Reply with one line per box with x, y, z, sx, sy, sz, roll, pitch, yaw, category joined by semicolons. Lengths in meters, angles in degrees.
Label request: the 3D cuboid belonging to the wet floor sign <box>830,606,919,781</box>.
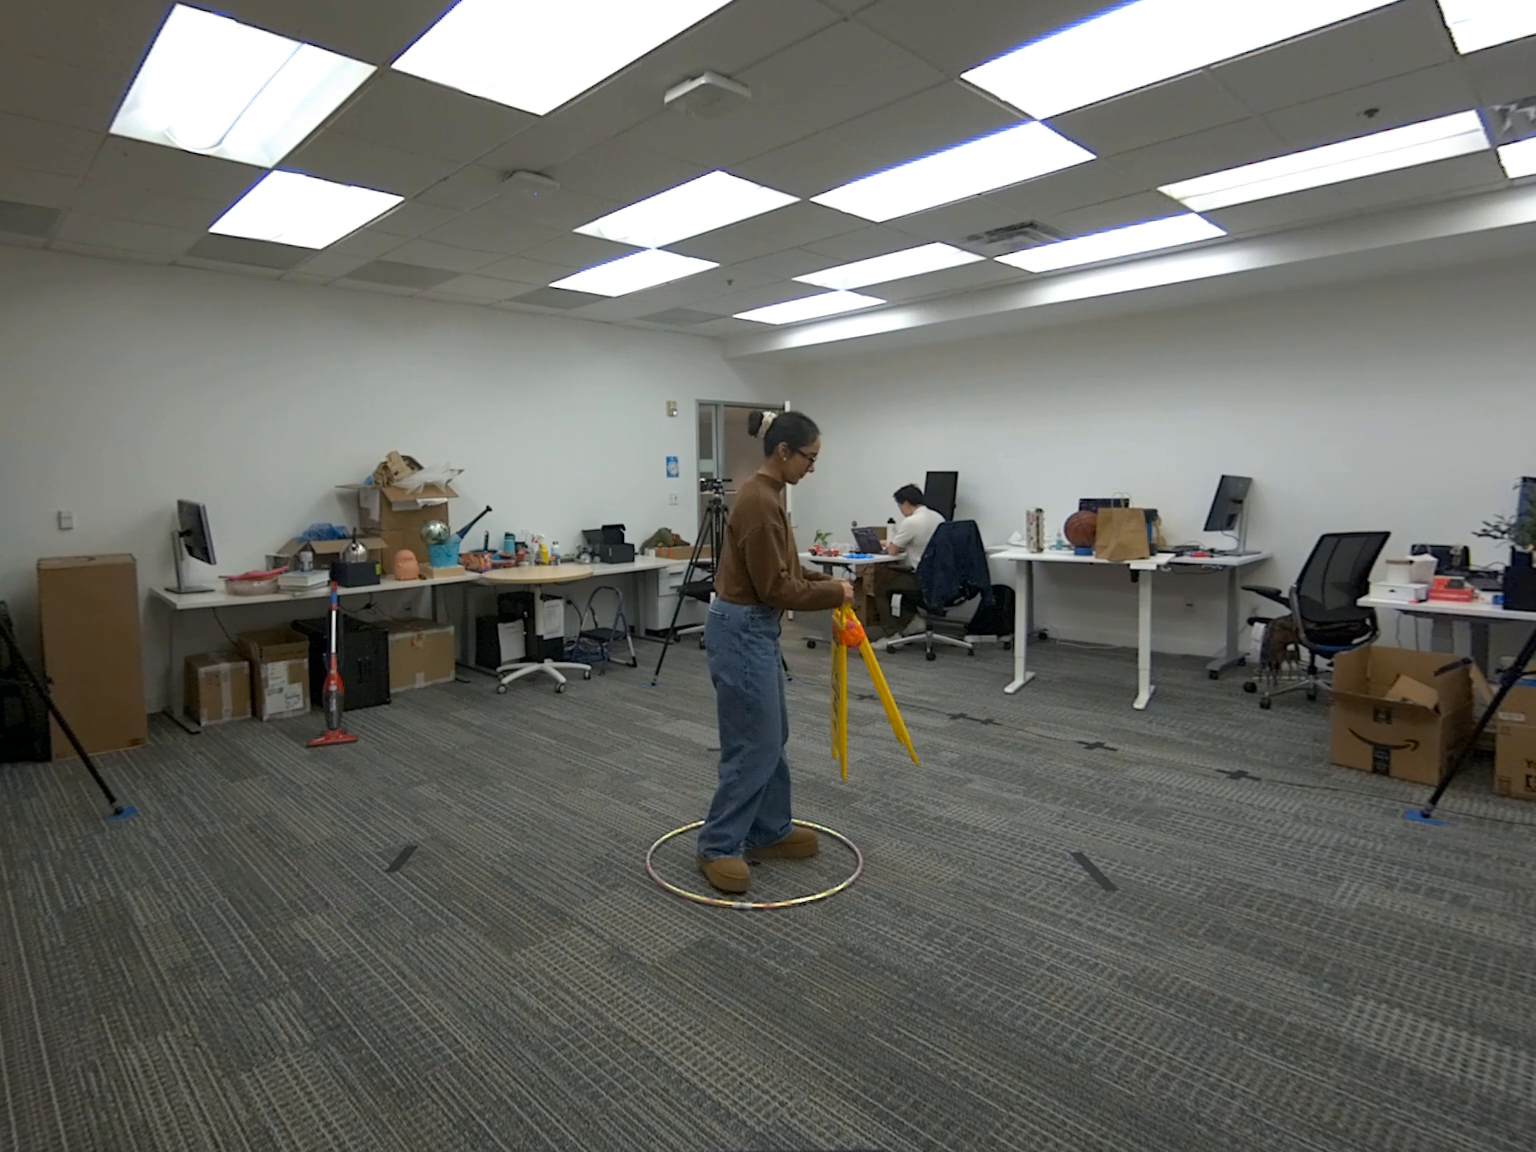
0.322;0.371;3.093;0.289;0.641;0.285;-12;8;-1;wet floor sign
